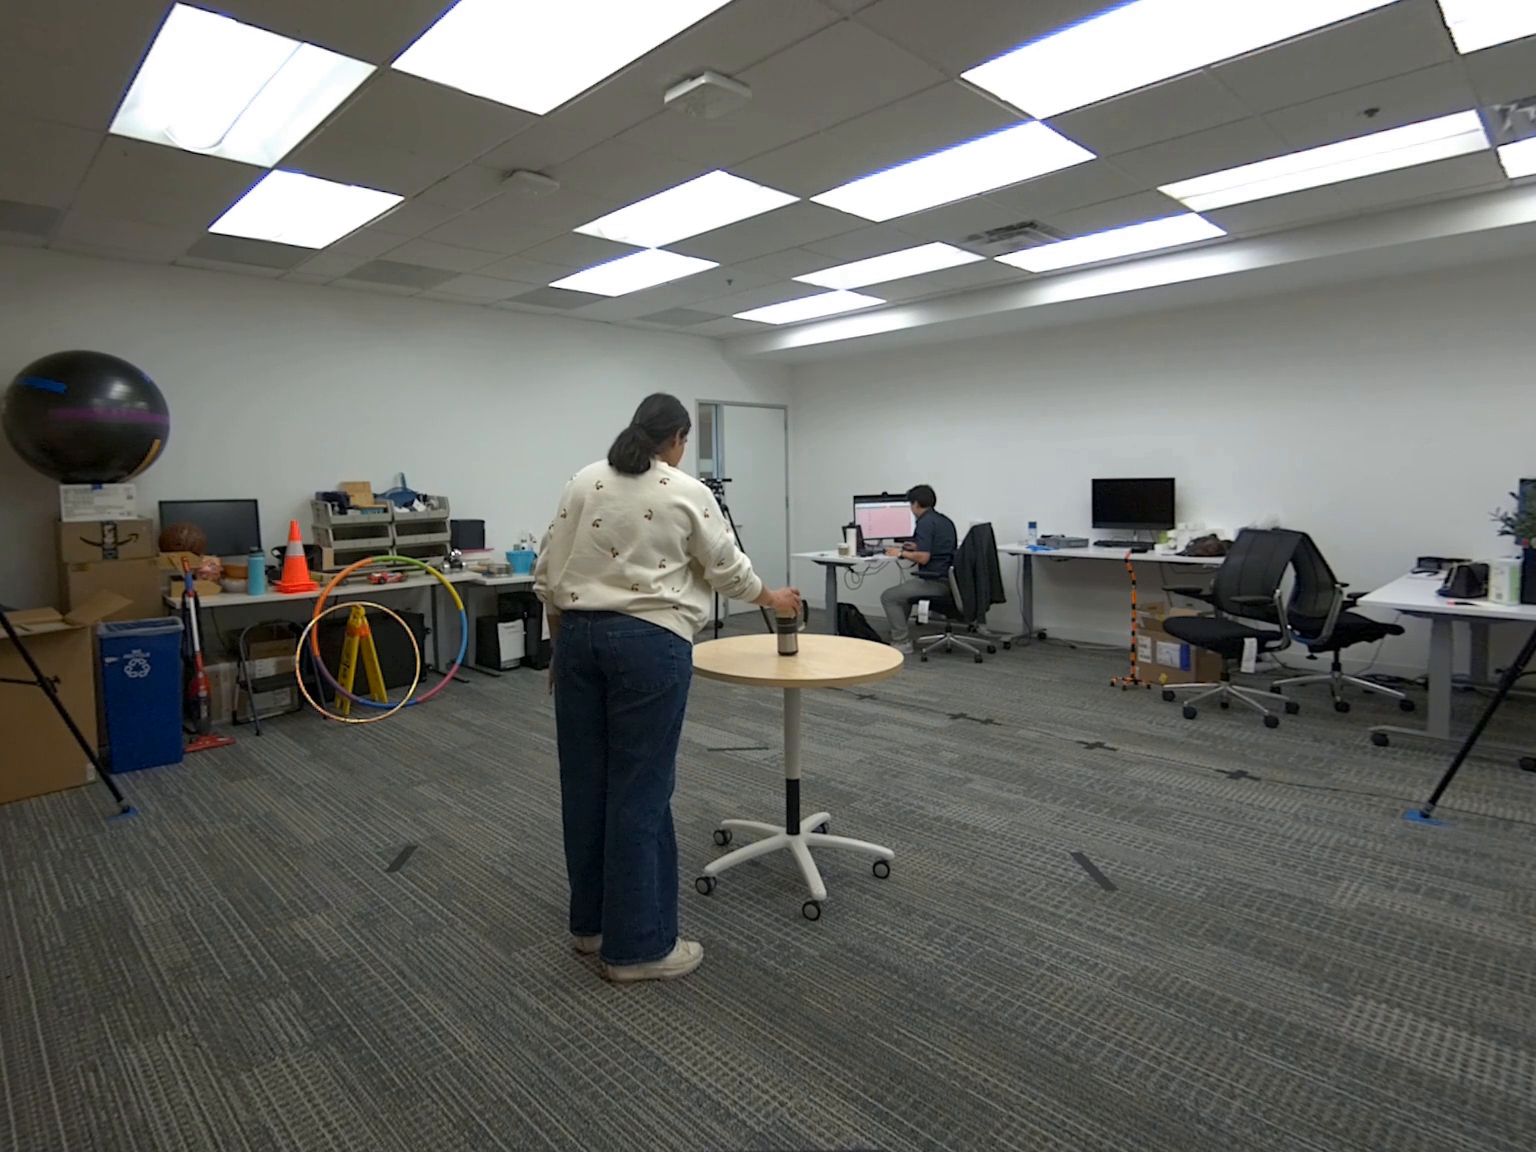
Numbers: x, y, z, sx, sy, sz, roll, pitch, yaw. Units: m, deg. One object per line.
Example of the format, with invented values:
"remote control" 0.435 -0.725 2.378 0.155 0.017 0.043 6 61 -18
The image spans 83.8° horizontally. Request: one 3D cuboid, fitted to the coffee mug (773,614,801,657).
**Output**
"coffee mug" 0.090 0.176 2.945 0.125 0.202 0.086 -2 4 40
